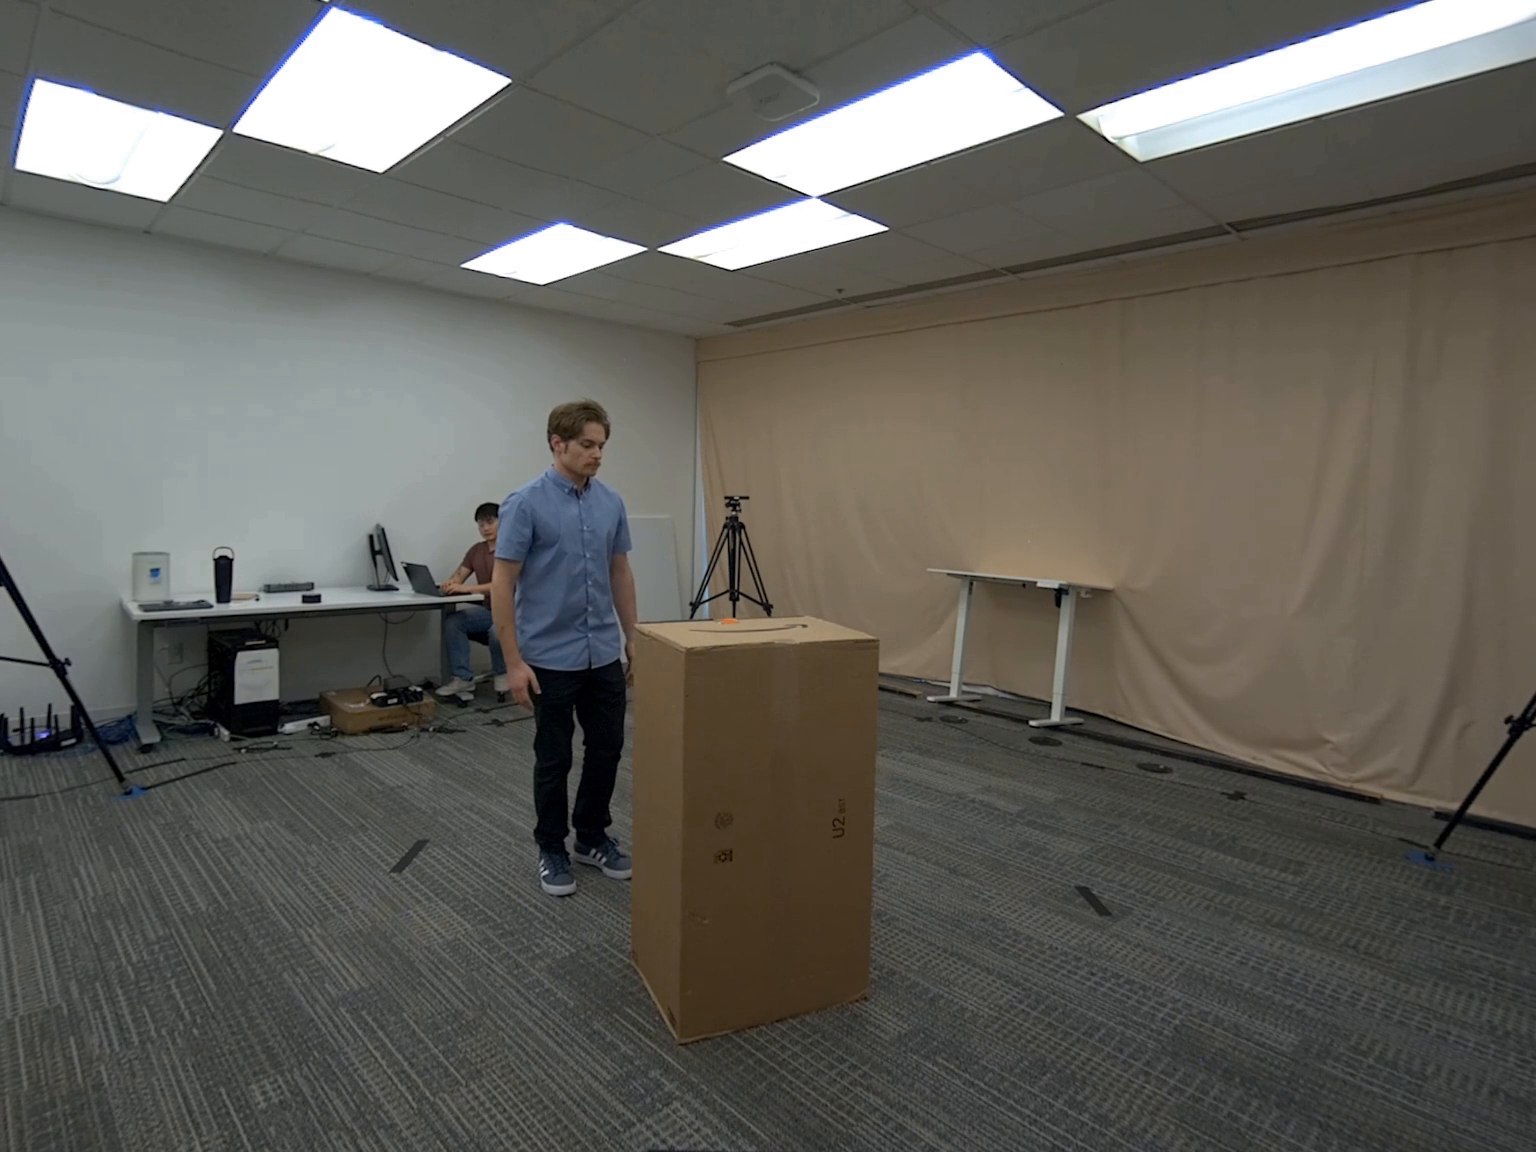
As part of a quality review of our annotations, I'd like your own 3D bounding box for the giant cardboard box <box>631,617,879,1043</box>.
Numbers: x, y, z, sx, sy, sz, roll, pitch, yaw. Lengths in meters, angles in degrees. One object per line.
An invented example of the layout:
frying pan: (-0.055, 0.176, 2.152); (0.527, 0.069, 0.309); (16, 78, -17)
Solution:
giant cardboard box: (-0.058, 0.664, 2.406); (0.567, 1.023, 0.435); (0, 4, -25)
